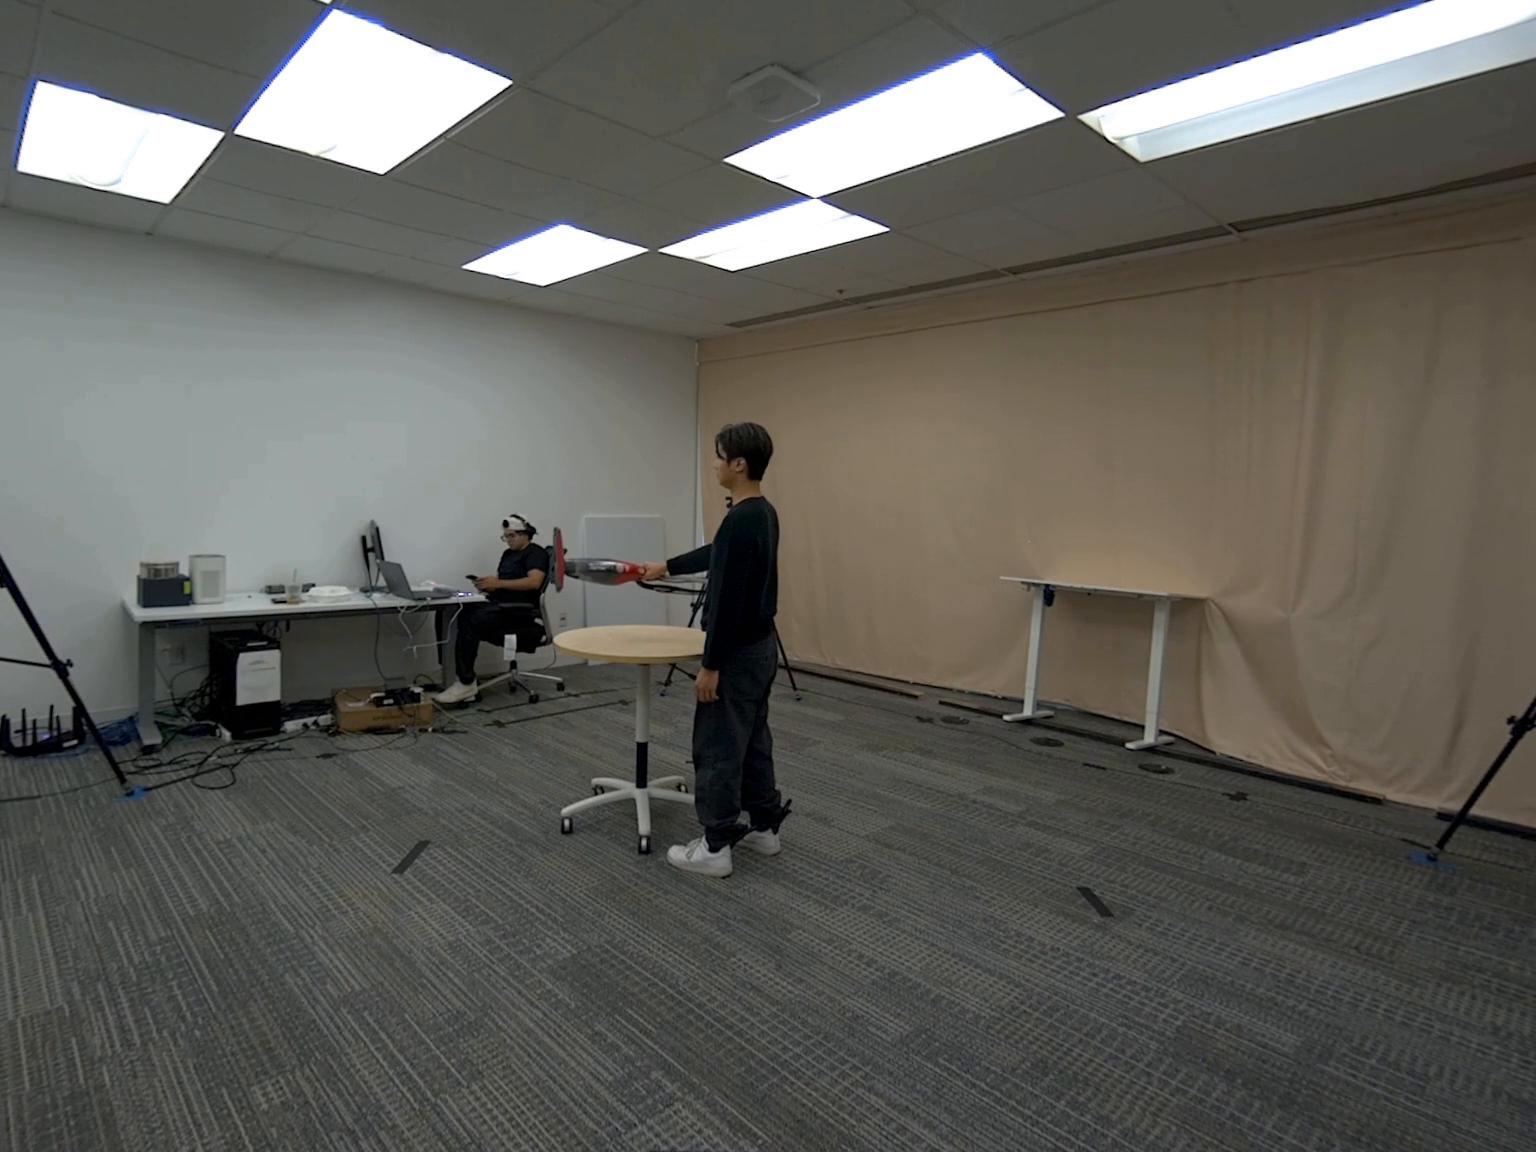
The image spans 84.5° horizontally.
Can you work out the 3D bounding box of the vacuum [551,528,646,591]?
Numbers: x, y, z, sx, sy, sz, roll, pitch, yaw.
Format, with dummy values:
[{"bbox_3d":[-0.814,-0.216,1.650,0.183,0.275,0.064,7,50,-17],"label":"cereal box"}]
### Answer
[{"bbox_3d":[-0.477,0.020,3.639,1.020,0.256,0.146,11,-26,-43],"label":"vacuum"}]
